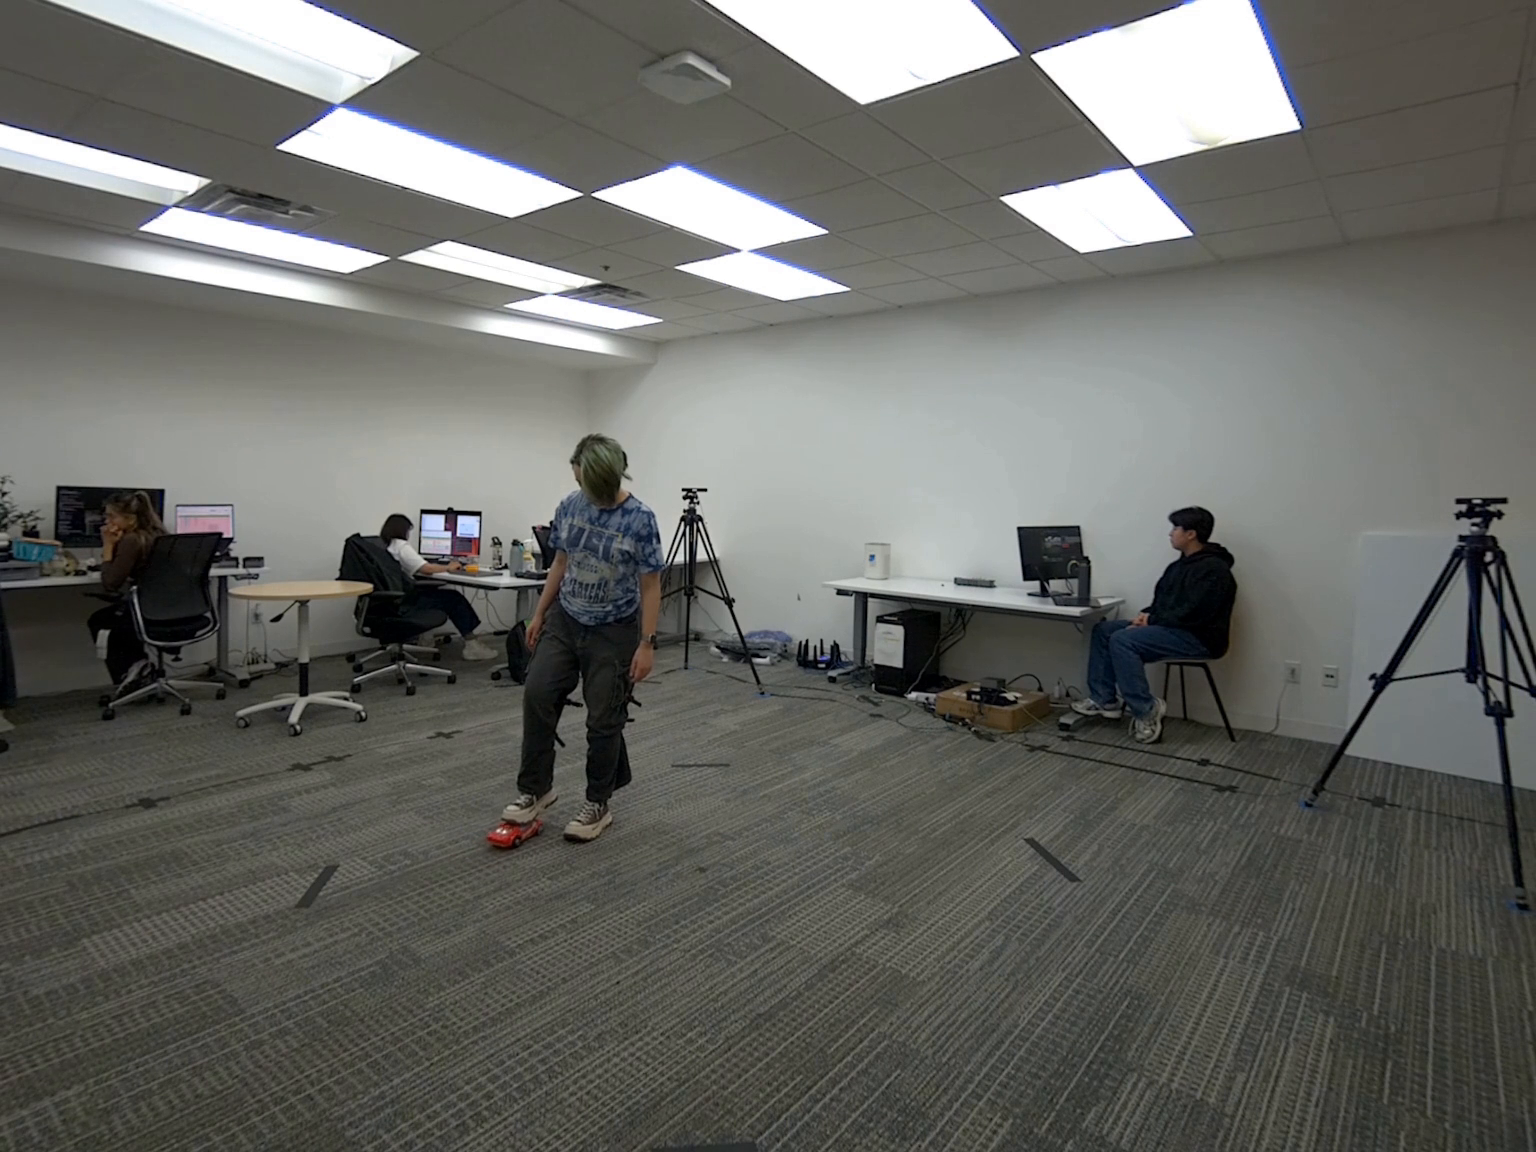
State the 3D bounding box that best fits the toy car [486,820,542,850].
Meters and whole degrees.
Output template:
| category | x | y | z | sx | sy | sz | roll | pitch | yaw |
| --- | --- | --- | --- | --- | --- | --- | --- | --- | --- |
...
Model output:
| category | x | y | z | sx | sy | sz | roll | pitch | yaw |
| --- | --- | --- | --- | --- | --- | --- | --- | --- | --- |
| toy car | -1.012 | 1.010 | 3.331 | 0.133 | 0.084 | 0.246 | 1 | -8 | 24 |
